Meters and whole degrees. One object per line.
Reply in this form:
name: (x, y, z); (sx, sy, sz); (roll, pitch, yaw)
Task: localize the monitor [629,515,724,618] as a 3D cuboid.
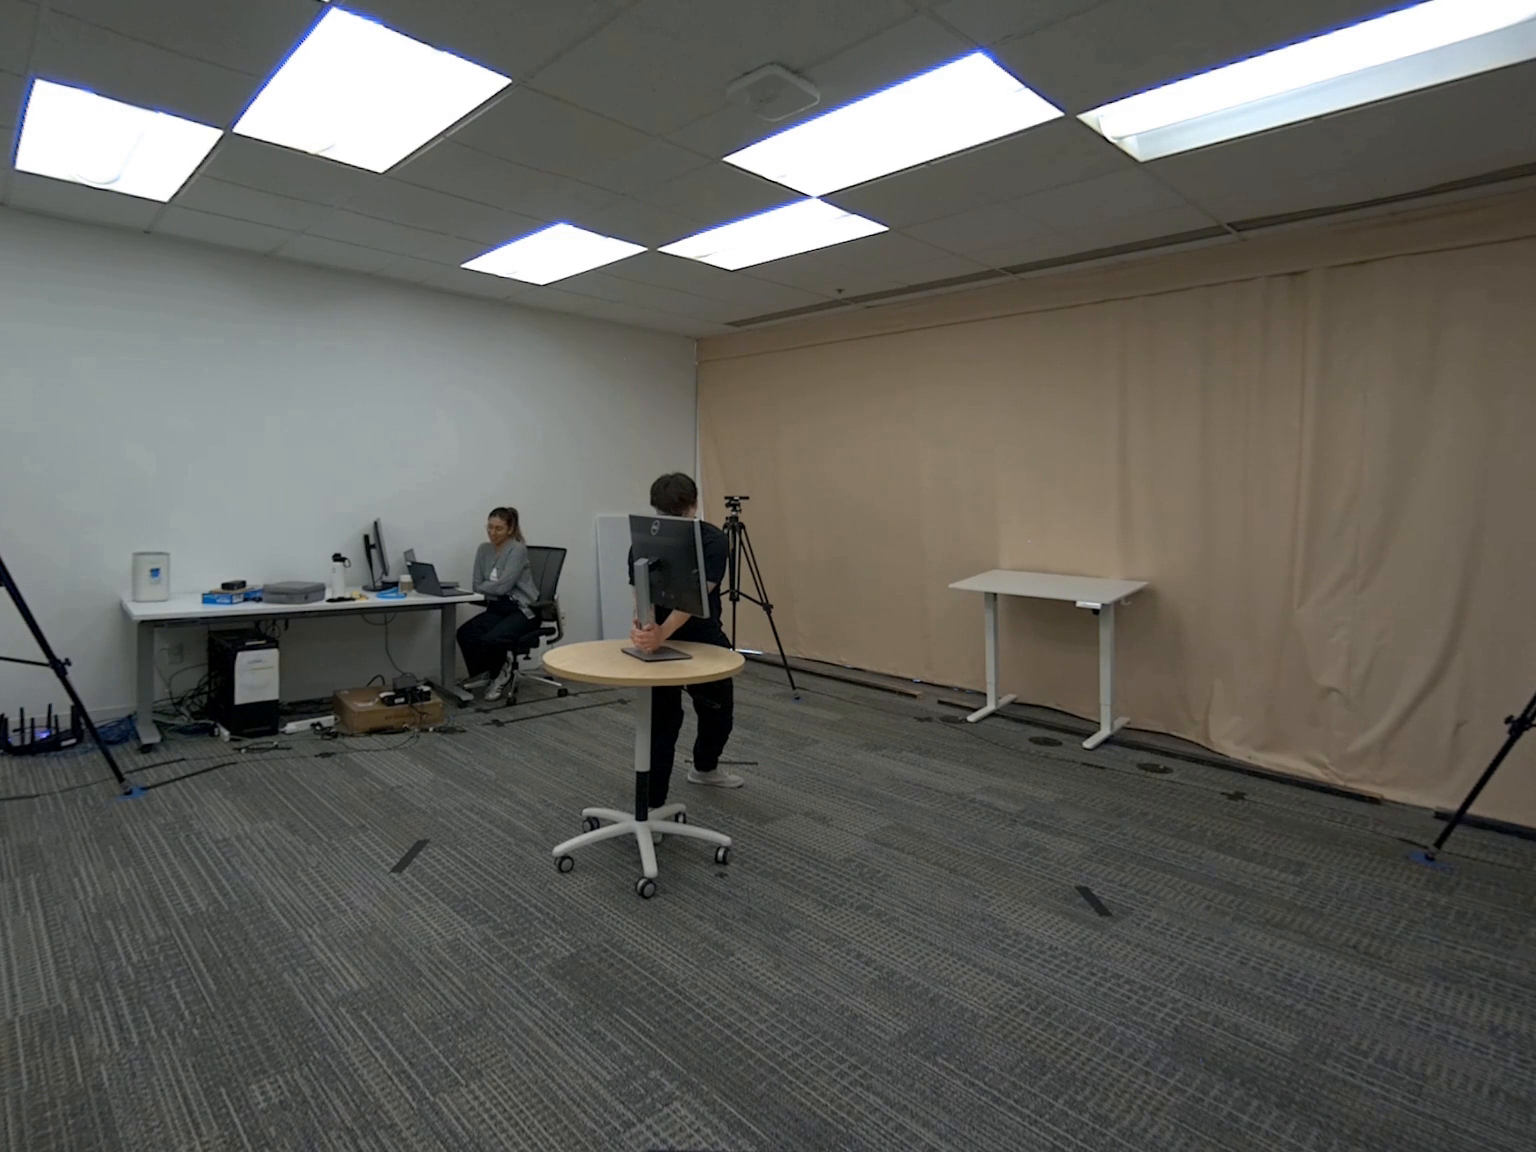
monitor: (-0.435, 0.043, 3.245); (0.183, 0.521, 0.552); (1, 4, -35)
